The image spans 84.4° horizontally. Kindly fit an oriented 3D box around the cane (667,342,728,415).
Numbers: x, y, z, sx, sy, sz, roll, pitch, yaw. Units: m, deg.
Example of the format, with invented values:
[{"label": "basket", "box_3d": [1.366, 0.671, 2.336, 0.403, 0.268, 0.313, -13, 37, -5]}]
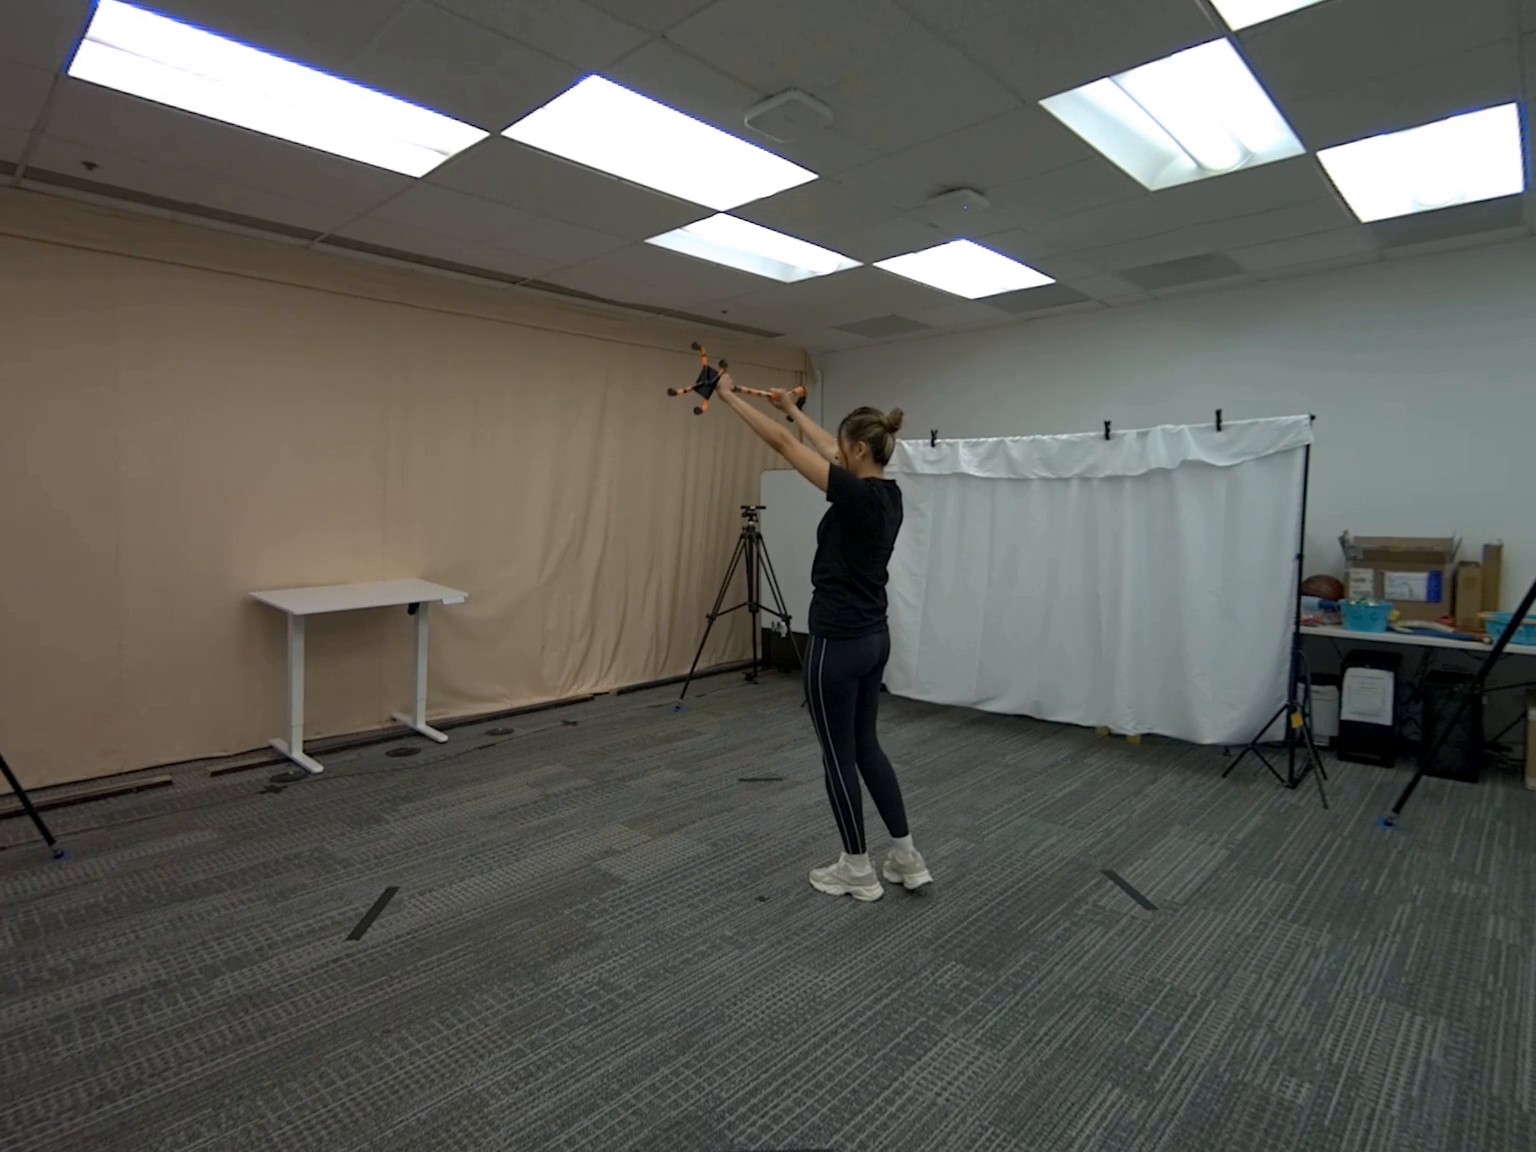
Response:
[{"label": "cane", "box_3d": [-0.046, -0.701, 3.213, 0.155, 0.206, 0.887, 38, 20, 18]}]
